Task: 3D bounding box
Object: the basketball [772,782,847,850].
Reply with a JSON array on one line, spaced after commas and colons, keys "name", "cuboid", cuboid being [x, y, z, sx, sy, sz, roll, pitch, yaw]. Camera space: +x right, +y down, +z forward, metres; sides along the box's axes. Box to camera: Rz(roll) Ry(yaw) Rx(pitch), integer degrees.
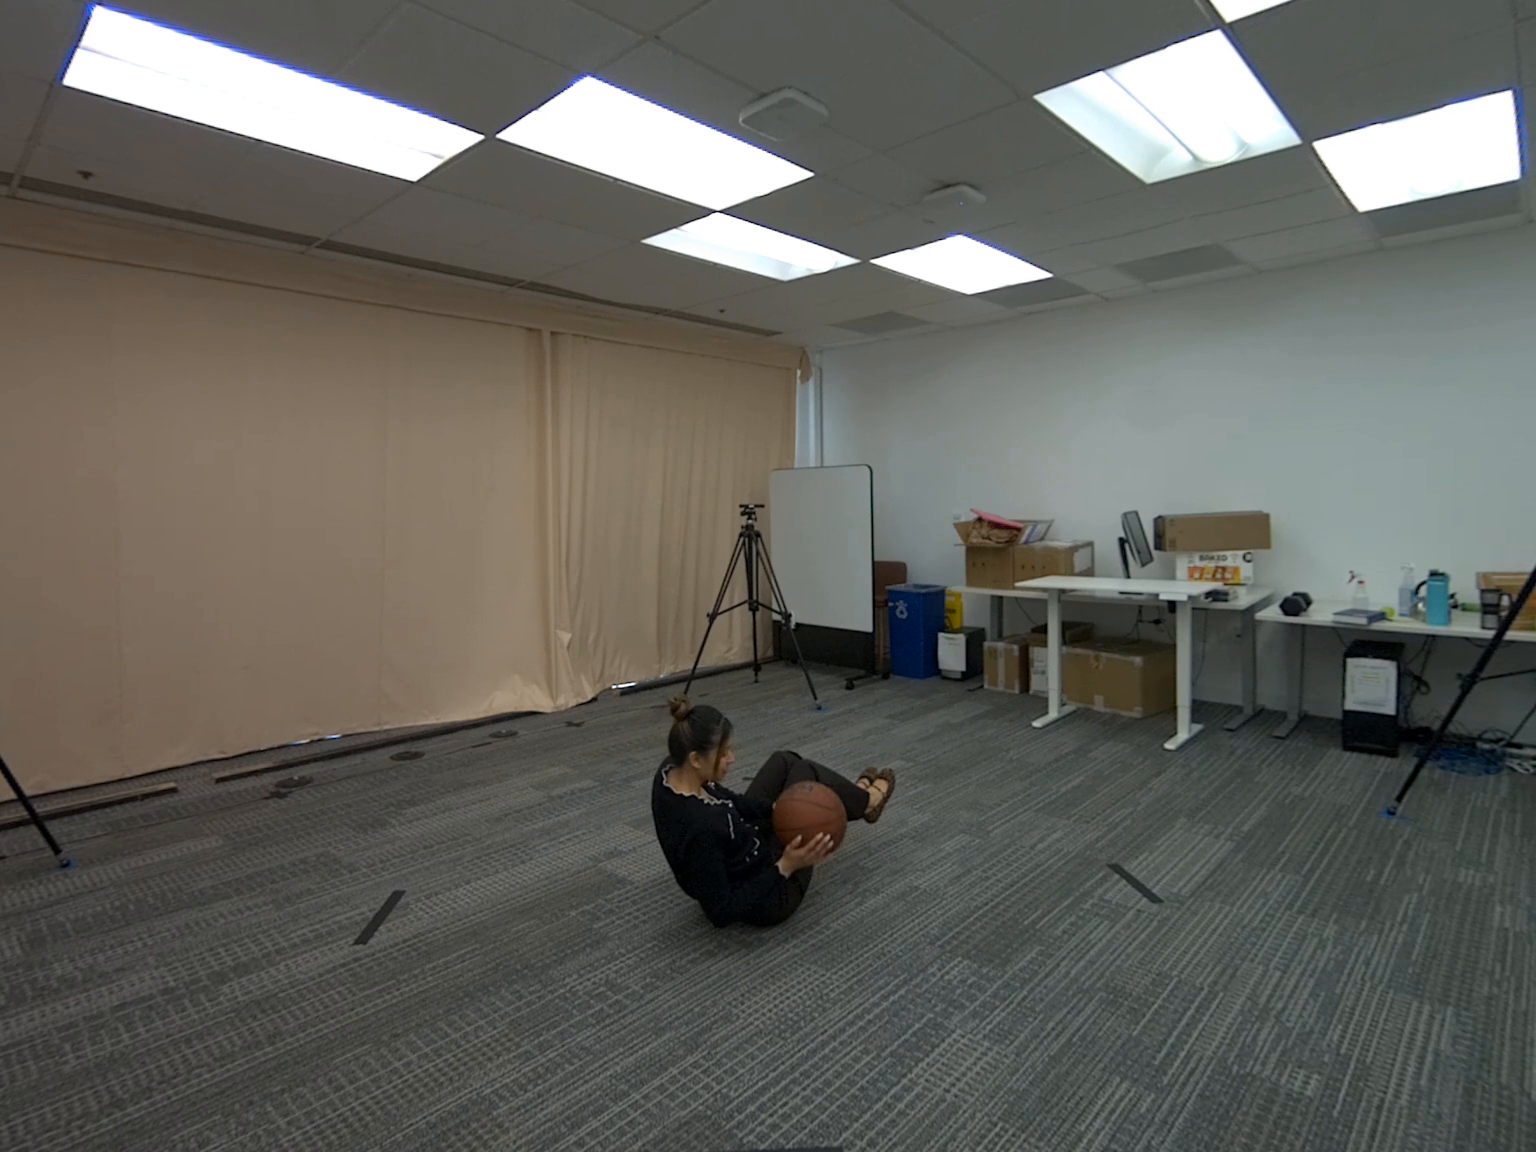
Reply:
[{"name": "basketball", "cuboid": [0.115, 0.782, 2.668, 0.236, 0.235, 0.237, -1, 4, -2]}]
